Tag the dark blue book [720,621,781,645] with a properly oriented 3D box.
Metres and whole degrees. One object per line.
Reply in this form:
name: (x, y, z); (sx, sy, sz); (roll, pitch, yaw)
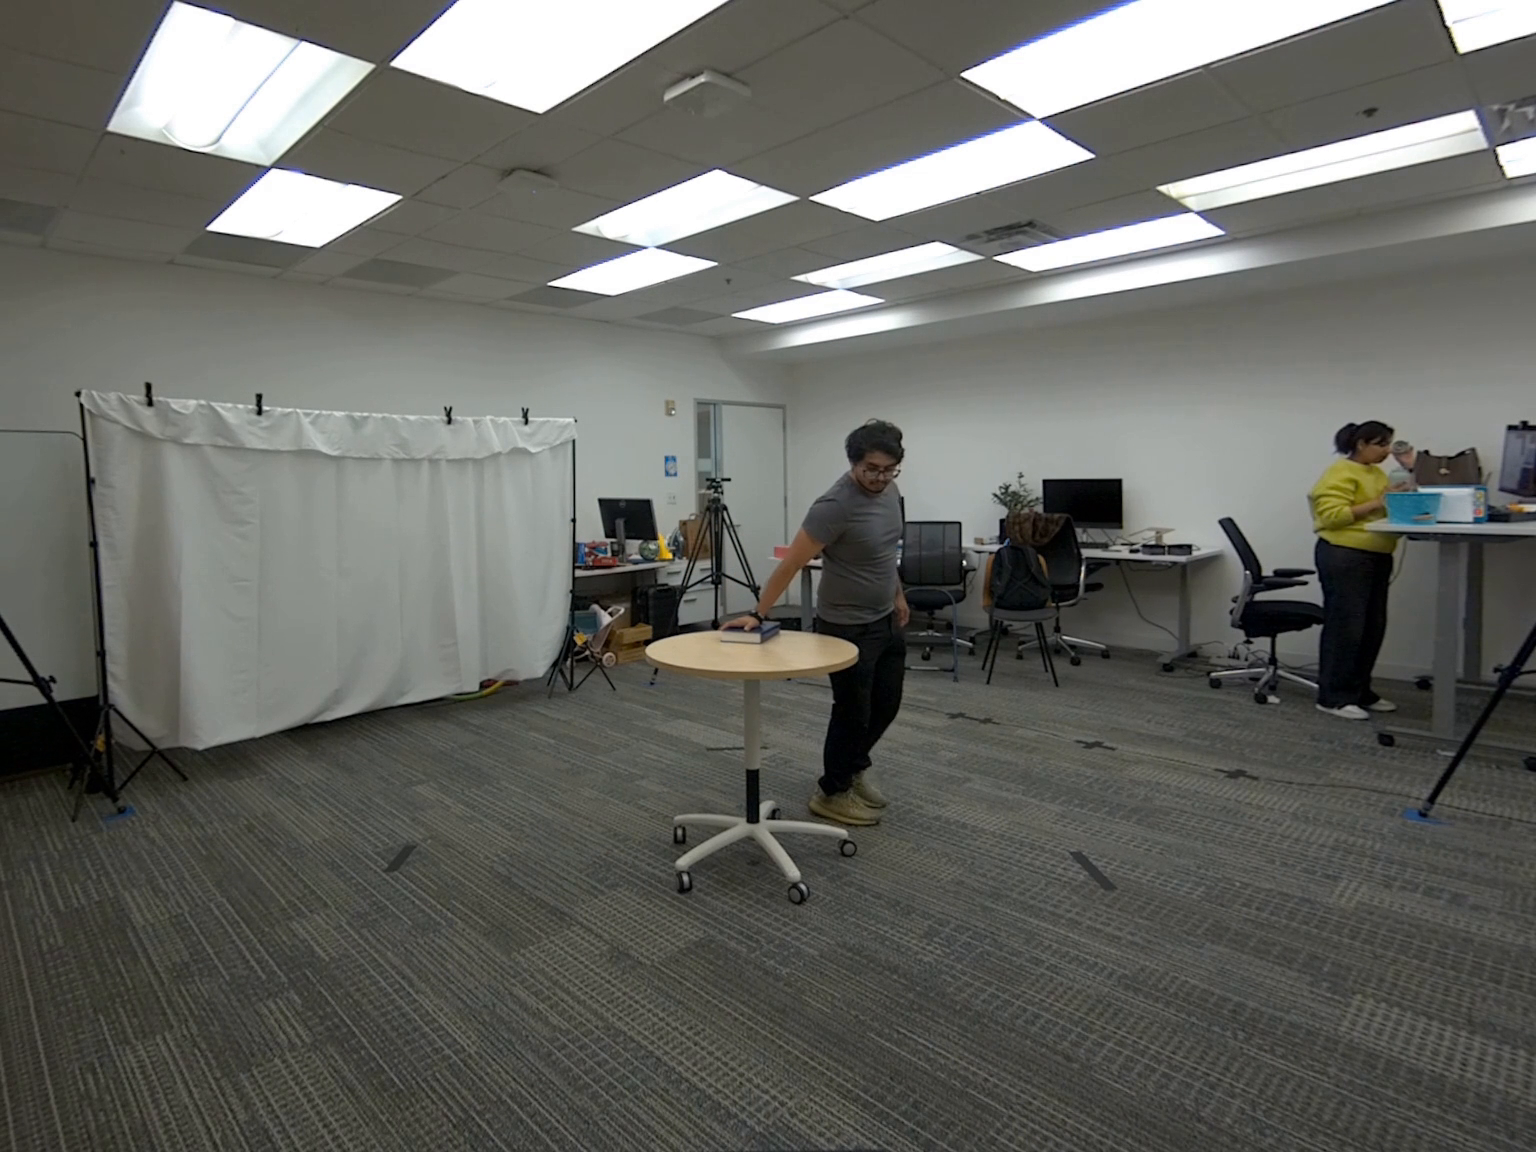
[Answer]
dark blue book: (-0.054, 0.217, 3.299); (0.166, 0.045, 0.242); (1, 7, 17)
